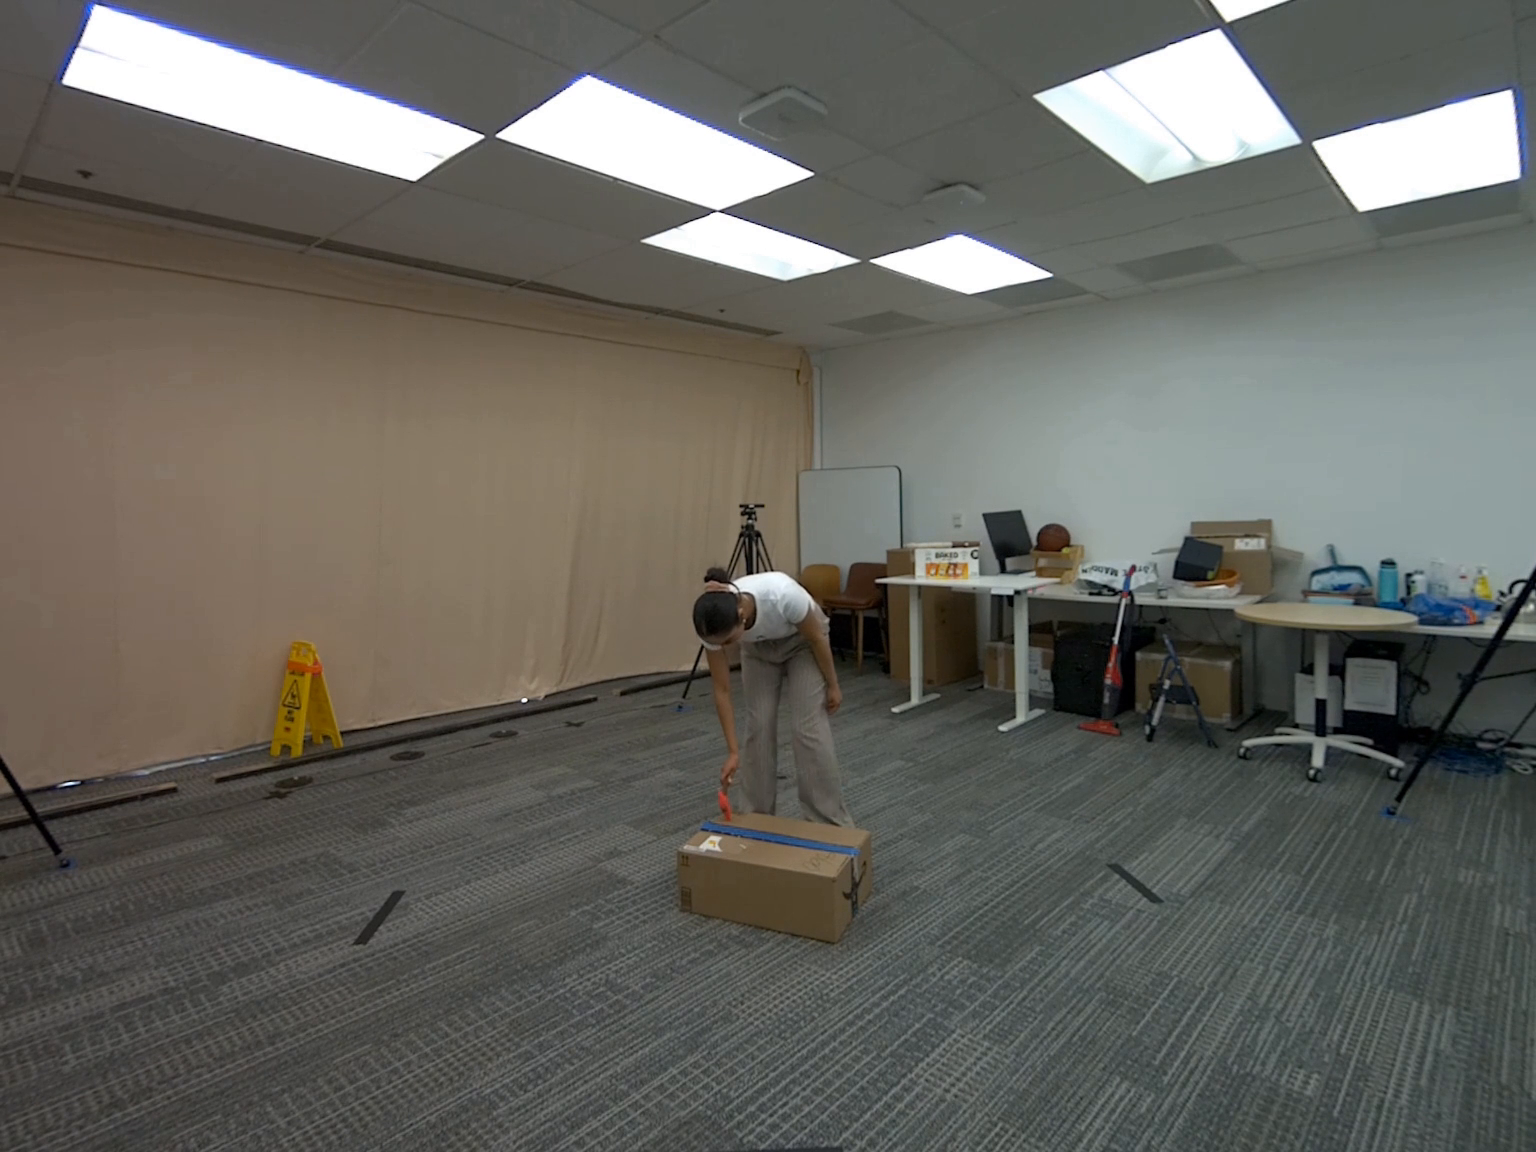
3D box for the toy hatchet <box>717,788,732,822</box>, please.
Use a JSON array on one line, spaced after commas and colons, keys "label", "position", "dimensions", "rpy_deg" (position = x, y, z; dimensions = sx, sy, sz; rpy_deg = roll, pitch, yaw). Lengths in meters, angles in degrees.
[{"label": "toy hatchet", "position": [-0.149, 0.843, 3.210], "dimensions": [0.030, 0.131, 0.268], "rpy_deg": [-15, 0, 5]}]
